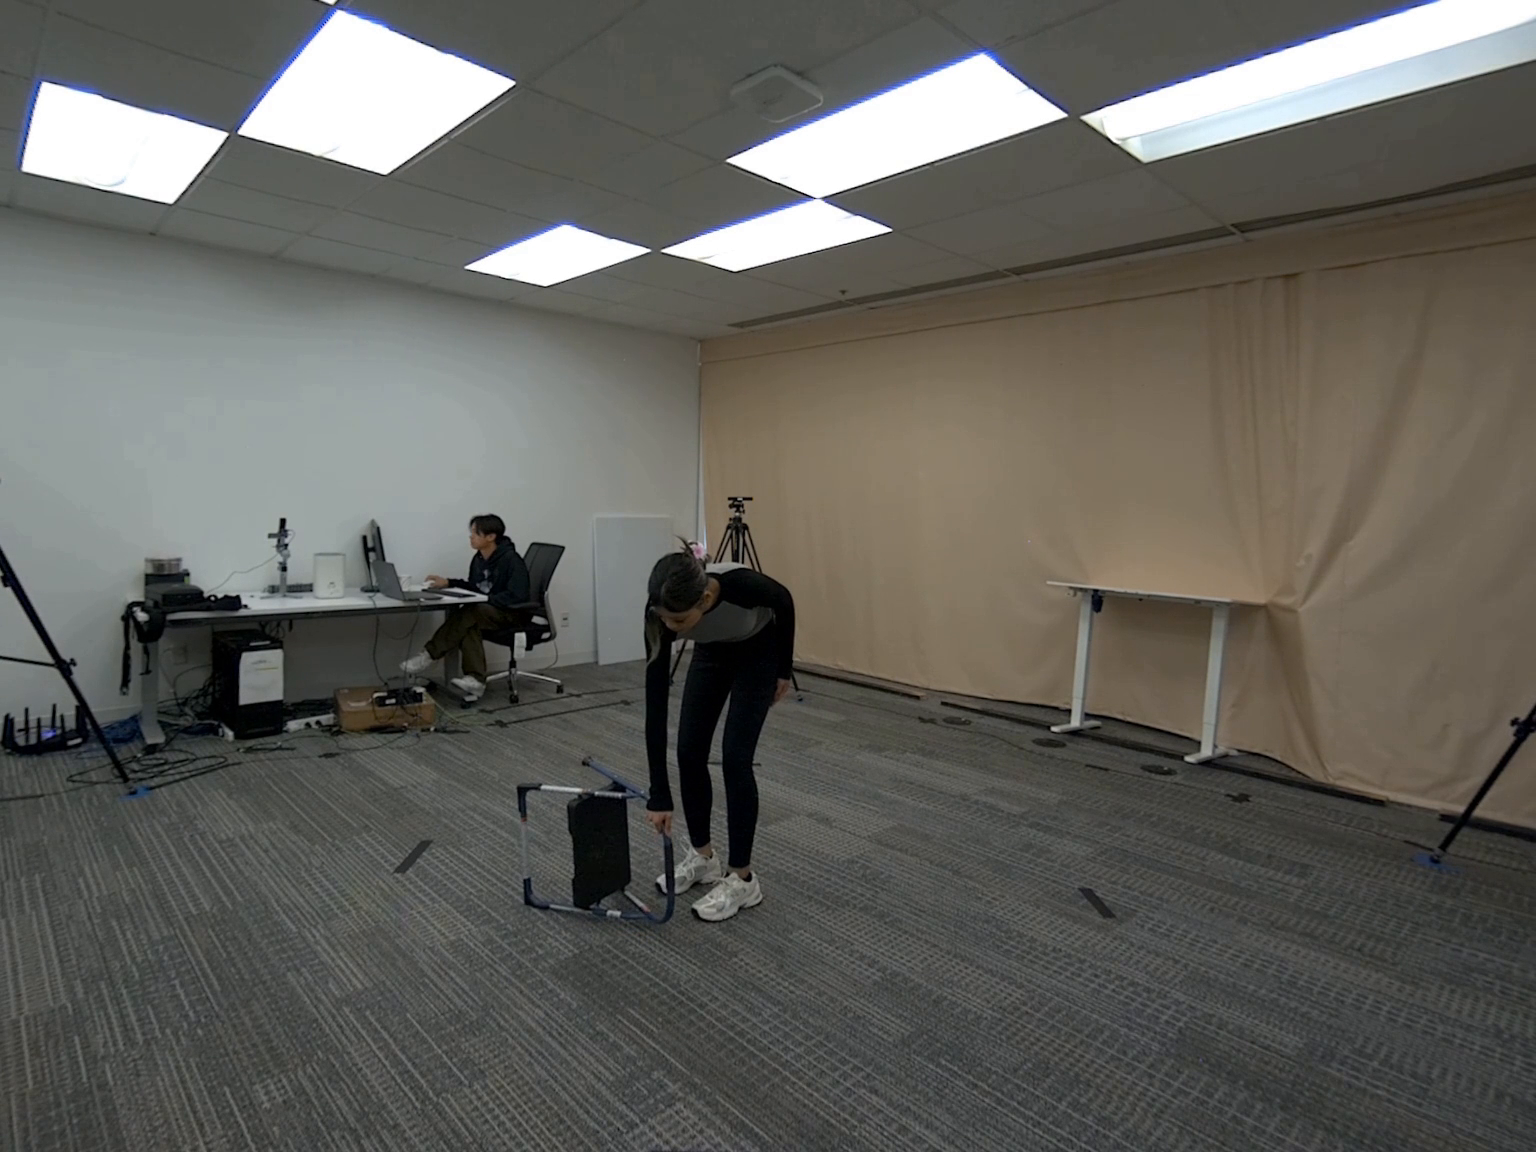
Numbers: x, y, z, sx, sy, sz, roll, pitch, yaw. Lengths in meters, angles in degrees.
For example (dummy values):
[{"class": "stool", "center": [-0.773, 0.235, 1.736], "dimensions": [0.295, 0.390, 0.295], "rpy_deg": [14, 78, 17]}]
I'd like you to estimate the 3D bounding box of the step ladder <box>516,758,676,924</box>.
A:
[{"class": "step ladder", "center": [-0.510, 0.895, 2.797], "dimensions": [0.620, 0.430, 0.342], "rpy_deg": [-1, 4, 37]}]
